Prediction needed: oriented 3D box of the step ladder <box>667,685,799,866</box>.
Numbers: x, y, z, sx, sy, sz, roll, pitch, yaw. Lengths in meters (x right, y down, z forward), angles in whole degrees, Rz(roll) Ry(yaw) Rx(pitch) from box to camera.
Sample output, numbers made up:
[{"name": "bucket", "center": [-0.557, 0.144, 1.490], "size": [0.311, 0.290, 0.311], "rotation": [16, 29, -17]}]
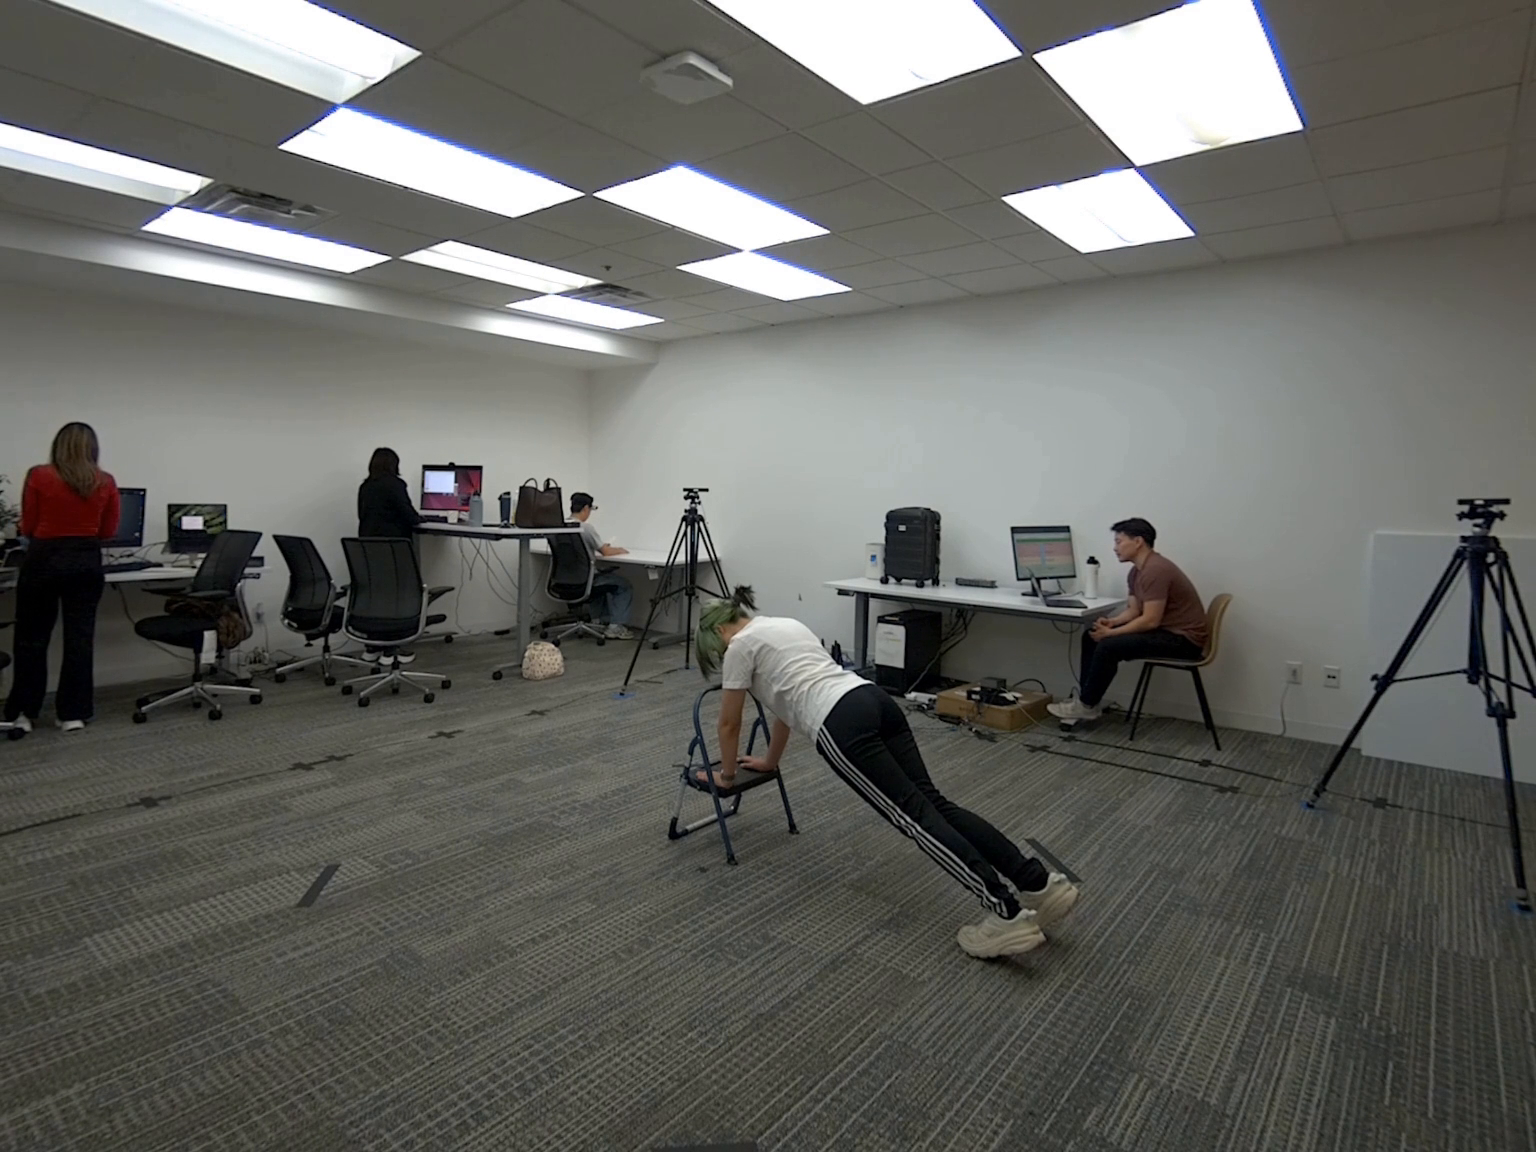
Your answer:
[{"name": "step ladder", "center": [-0.143, 0.740, 3.403], "size": [0.361, 0.604, 0.418], "rotation": [4, 4, 38]}]
